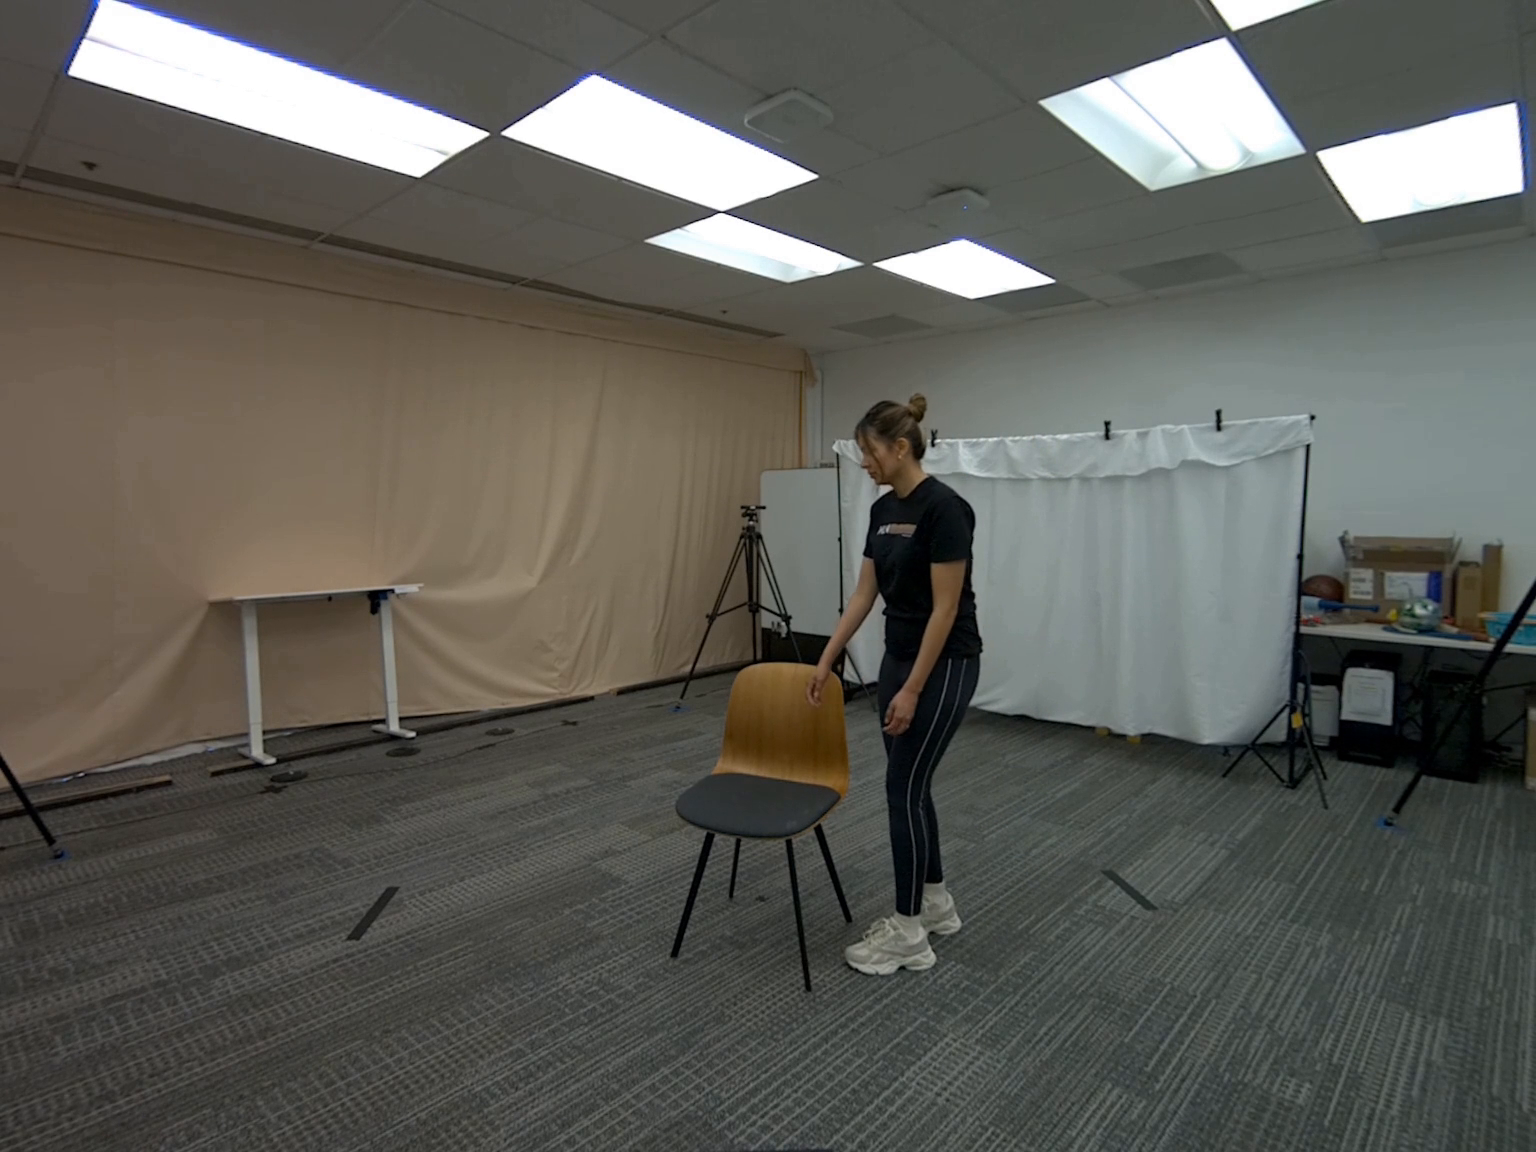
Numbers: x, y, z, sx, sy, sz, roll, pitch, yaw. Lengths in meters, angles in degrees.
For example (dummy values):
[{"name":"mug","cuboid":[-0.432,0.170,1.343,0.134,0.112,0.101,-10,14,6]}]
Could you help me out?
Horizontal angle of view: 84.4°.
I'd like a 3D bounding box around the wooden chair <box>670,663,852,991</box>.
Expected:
[{"name":"wooden chair","cuboid":[-0.007,0.745,2.671,0.490,0.877,0.510,2,0,23]}]
